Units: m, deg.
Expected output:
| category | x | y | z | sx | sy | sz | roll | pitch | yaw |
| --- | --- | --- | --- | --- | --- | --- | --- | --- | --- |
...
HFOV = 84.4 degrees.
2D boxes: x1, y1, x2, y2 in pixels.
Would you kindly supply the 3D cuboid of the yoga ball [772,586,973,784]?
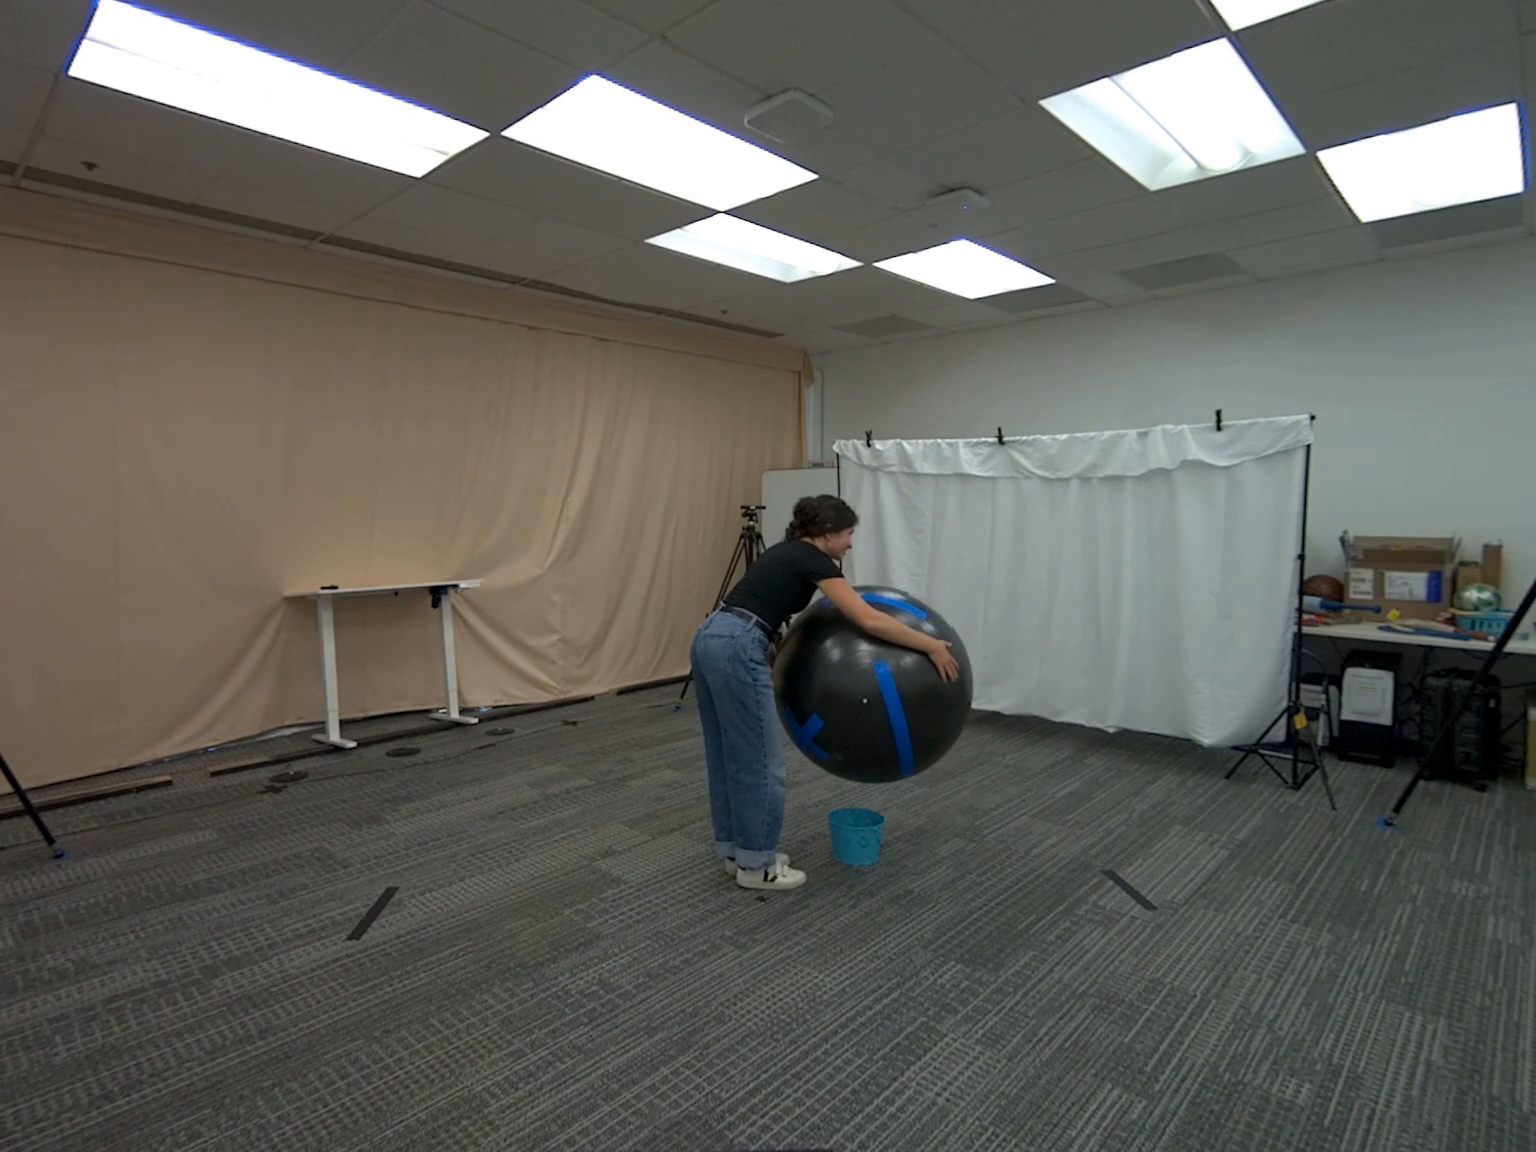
| category | x | y | z | sx | sy | sz | roll | pitch | yaw |
| --- | --- | --- | --- | --- | --- | --- | --- | --- | --- |
| yoga ball | 0.411 | 0.414 | 3.274 | 0.757 | 0.756 | 0.760 | 0 | 4 | -2 |
